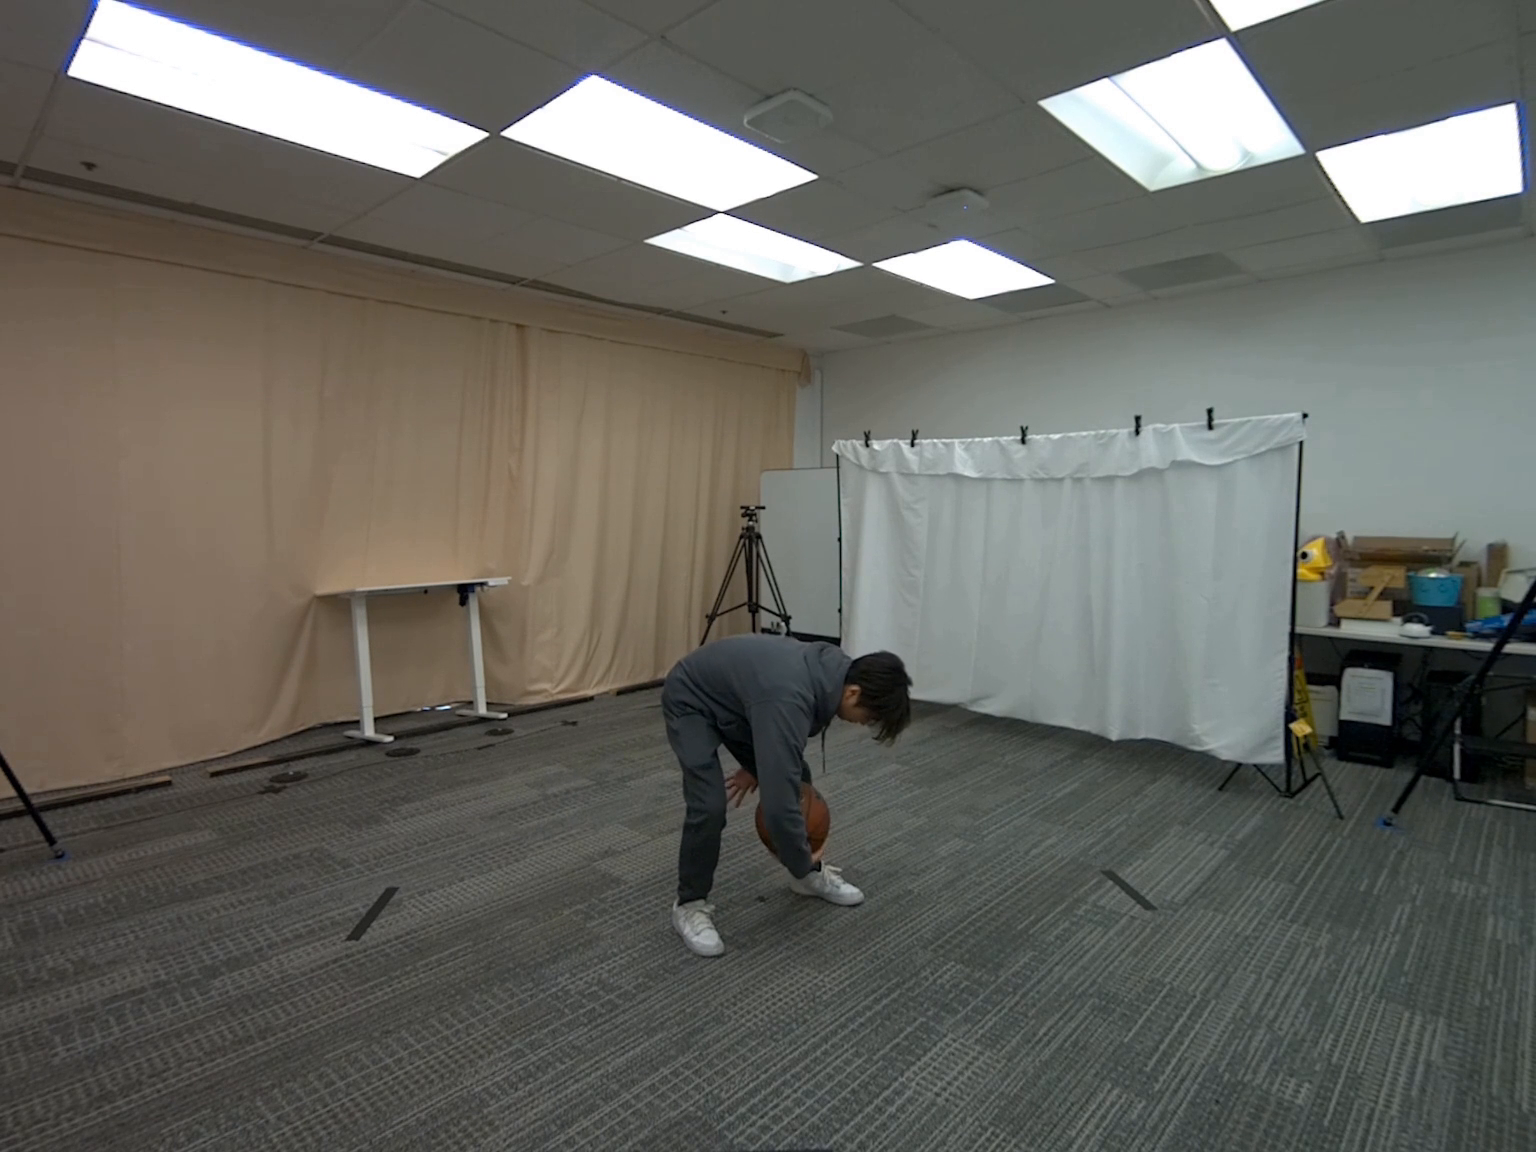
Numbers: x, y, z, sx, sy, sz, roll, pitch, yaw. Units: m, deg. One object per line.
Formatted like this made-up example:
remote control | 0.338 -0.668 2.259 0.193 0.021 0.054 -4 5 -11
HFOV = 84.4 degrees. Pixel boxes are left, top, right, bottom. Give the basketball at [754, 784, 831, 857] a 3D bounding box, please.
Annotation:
basketball | 0.075 0.772 2.676 0.236 0.235 0.237 0 4 -2
